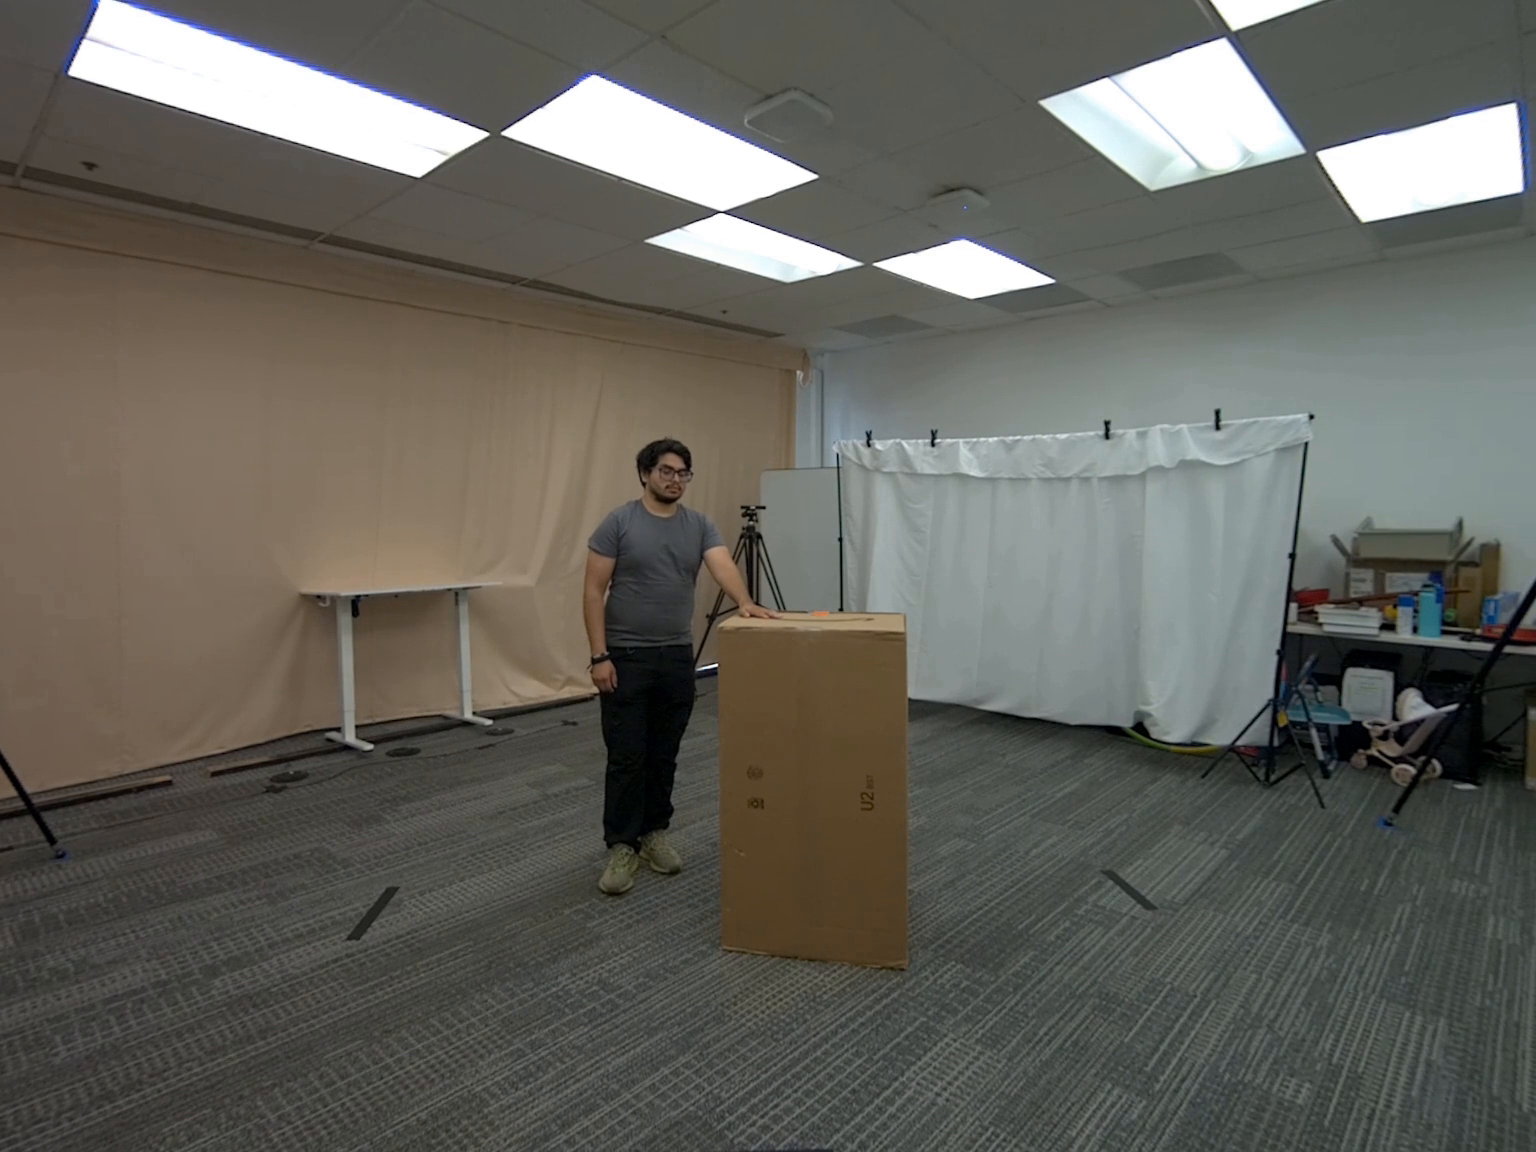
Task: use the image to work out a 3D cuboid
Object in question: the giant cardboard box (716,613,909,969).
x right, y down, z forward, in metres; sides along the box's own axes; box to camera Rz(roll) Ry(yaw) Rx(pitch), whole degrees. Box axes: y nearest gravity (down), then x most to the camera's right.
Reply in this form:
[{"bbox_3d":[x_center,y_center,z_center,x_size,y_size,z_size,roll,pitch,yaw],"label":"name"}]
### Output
[{"bbox_3d":[0.168,0.649,2.764,0.585,1.024,0.421,0,3,11],"label":"giant cardboard box"}]
